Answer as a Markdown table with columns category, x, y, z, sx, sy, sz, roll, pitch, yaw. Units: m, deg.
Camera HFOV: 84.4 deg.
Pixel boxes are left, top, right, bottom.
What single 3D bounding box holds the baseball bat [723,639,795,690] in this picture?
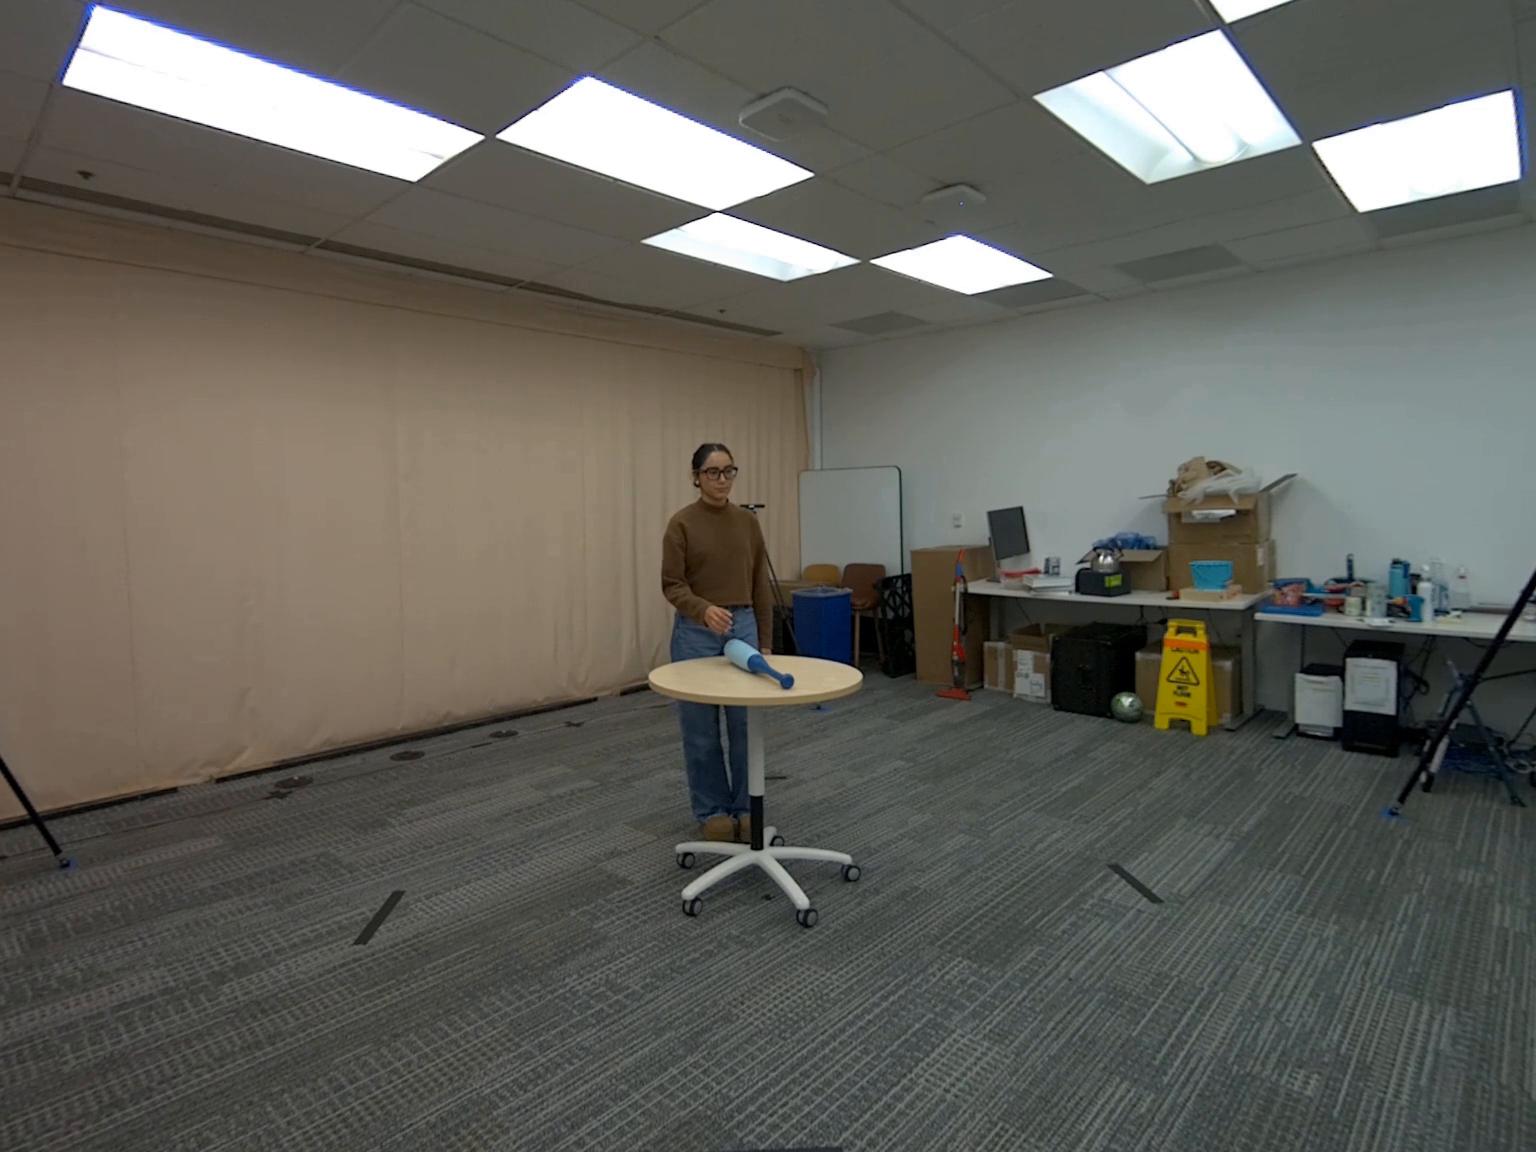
| category | x | y | z | sx | sy | sz | roll | pitch | yaw |
| --- | --- | --- | --- | --- | --- | --- | --- | --- | --- |
| baseball bat | -0.031 | 0.318 | 3.016 | 0.087 | 0.089 | 0.556 | -2 | 8 | -22 |
